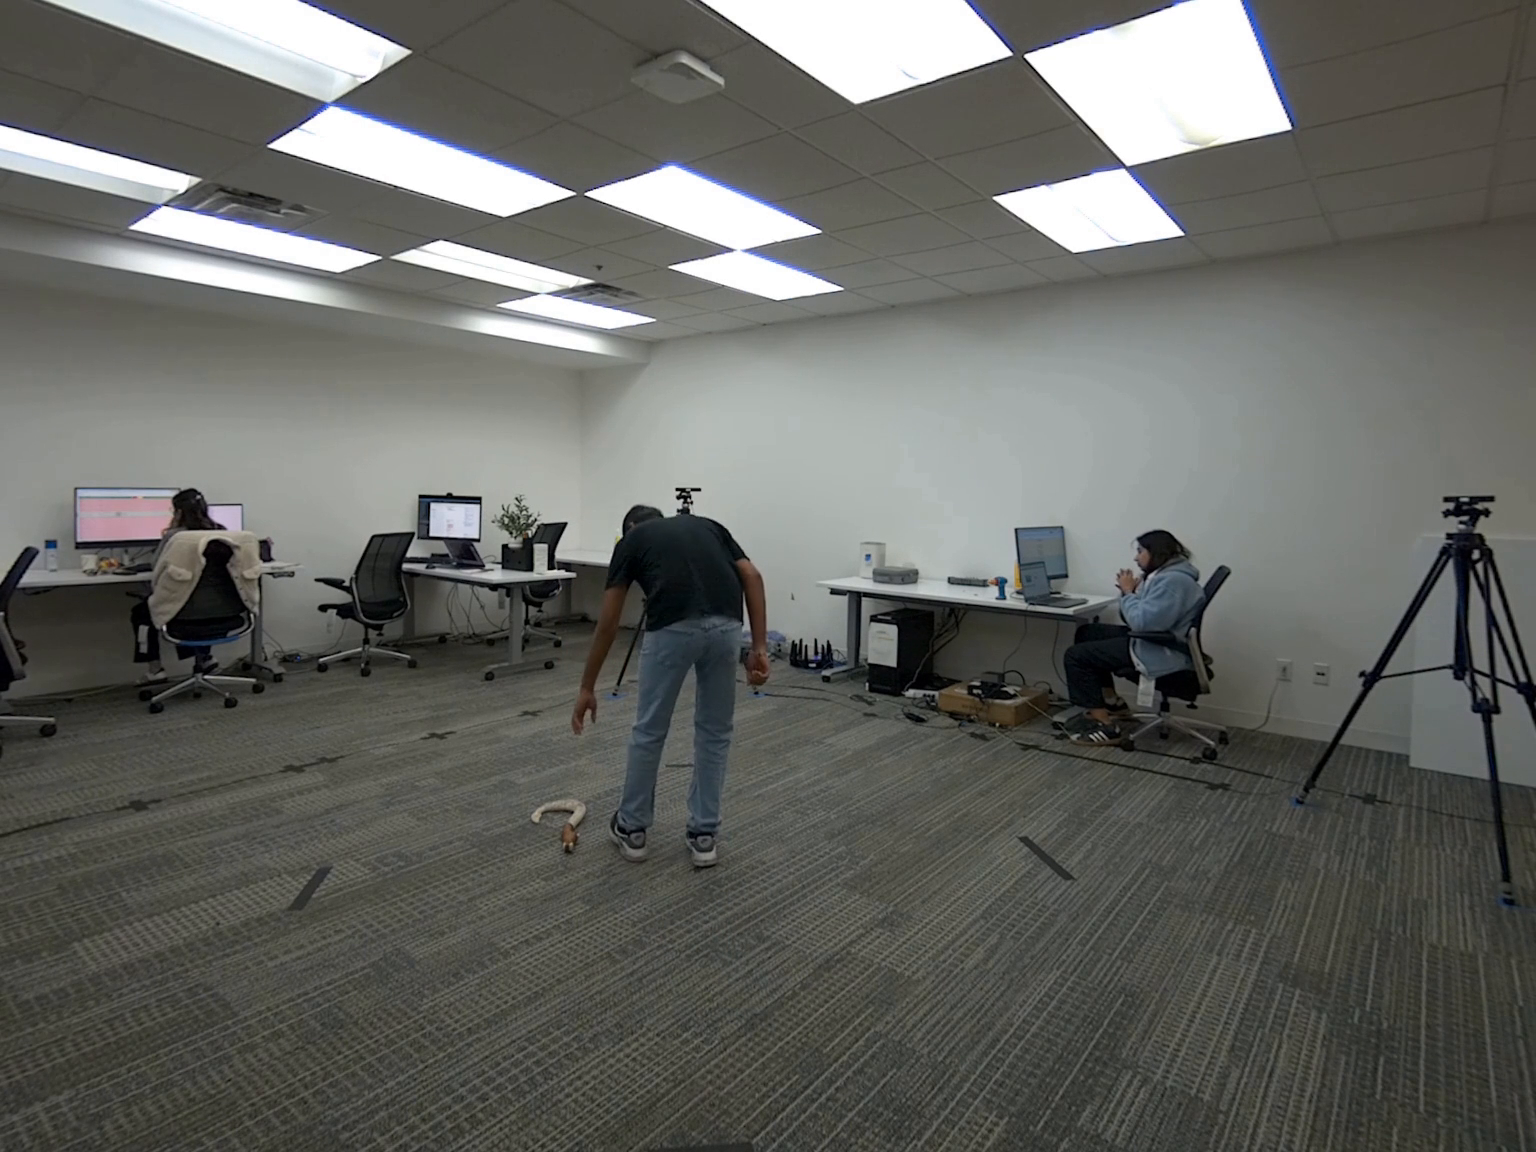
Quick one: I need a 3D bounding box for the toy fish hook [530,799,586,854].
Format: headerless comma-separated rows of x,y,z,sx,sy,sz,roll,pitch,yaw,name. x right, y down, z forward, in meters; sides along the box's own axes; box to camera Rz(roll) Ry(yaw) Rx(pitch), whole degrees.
-0.866,1.010,3.454,0.223,0.048,0.514,-8,7,-10,toy fish hook
